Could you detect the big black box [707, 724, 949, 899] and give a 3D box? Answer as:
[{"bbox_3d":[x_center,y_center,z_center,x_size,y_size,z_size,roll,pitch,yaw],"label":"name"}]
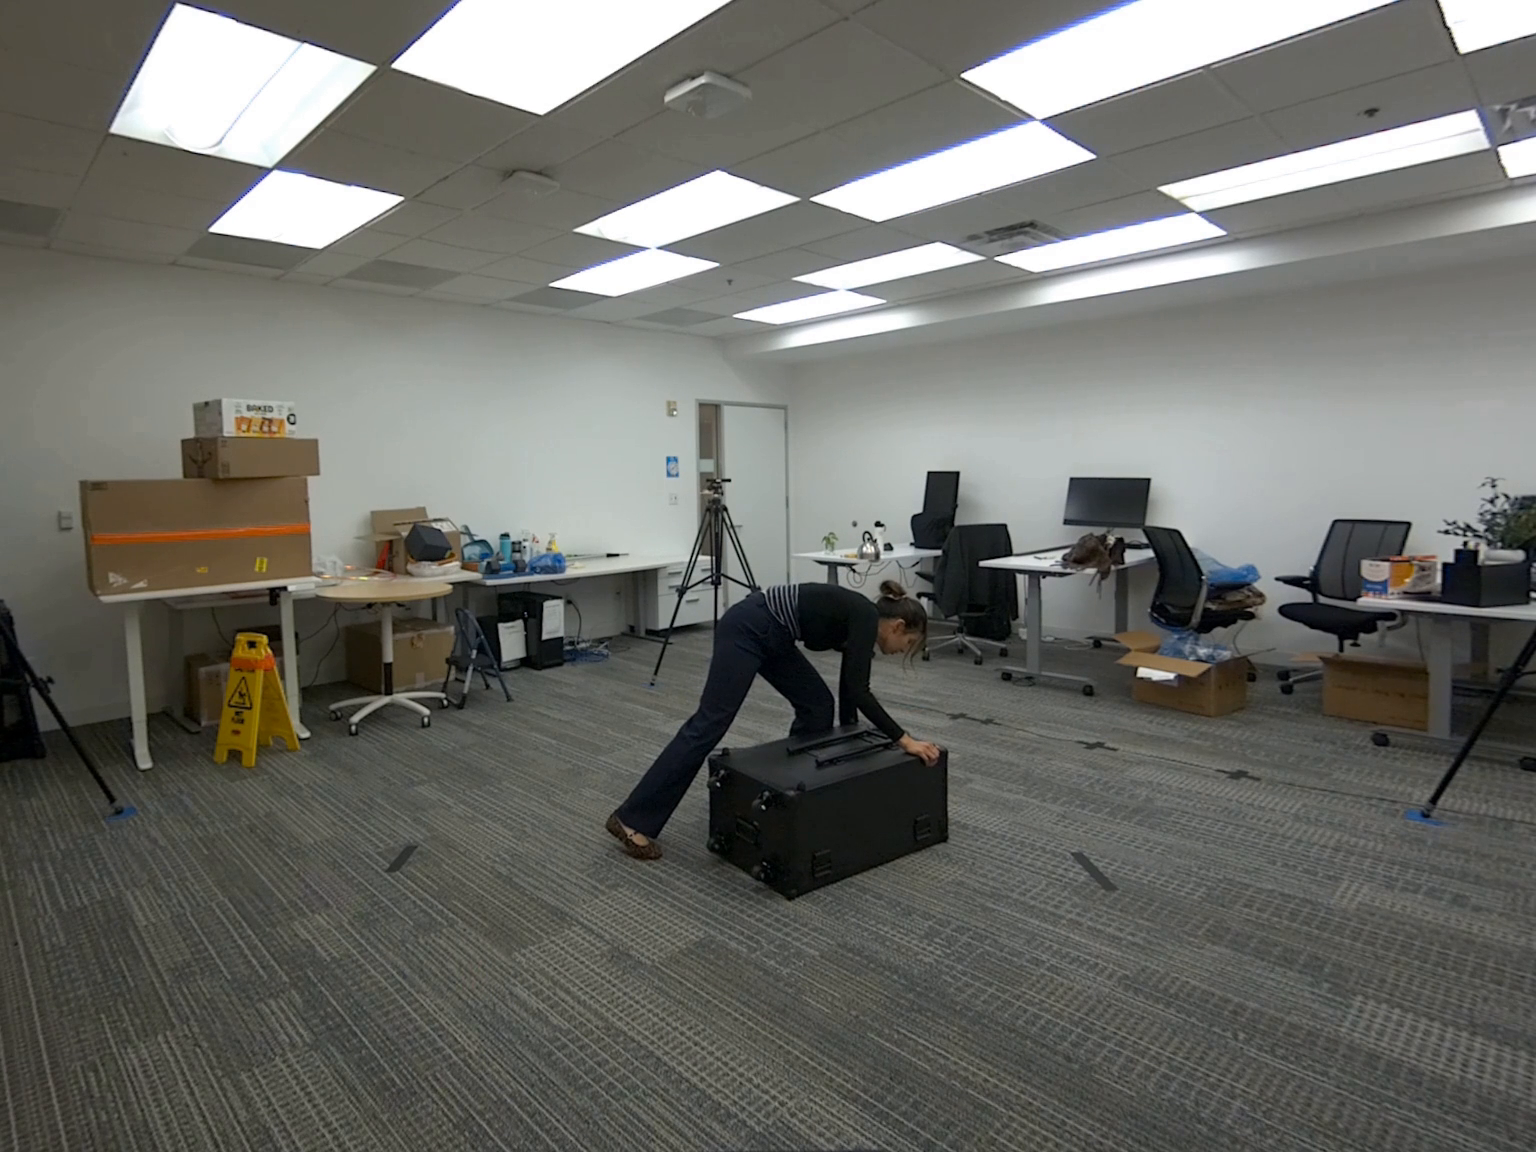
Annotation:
[{"bbox_3d":[0.259,0.855,3.237,0.839,0.395,0.537,-5,6,-36],"label":"big black box"}]
